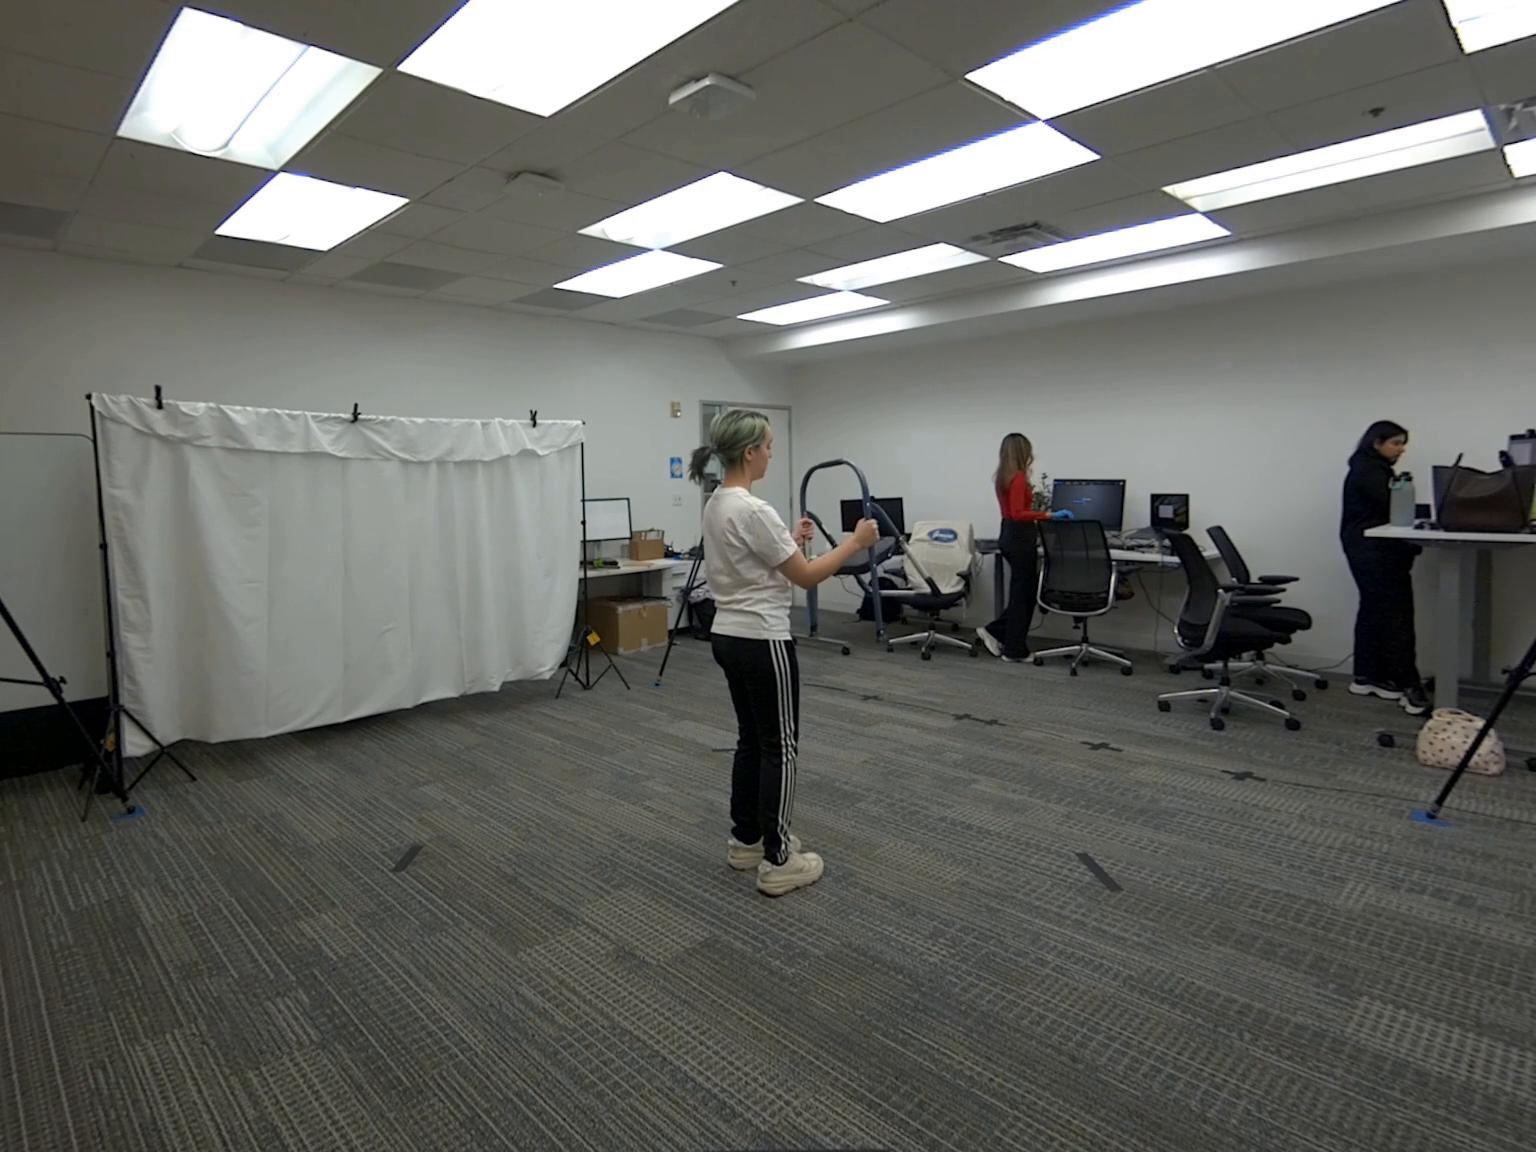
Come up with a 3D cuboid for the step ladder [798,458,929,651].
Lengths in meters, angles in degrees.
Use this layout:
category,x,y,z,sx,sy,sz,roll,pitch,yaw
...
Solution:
category,x,y,z,sx,sy,sz,roll,pitch,yaw
step ladder,0.287,-0.118,3.163,0.345,0.598,0.441,-29,13,-29
